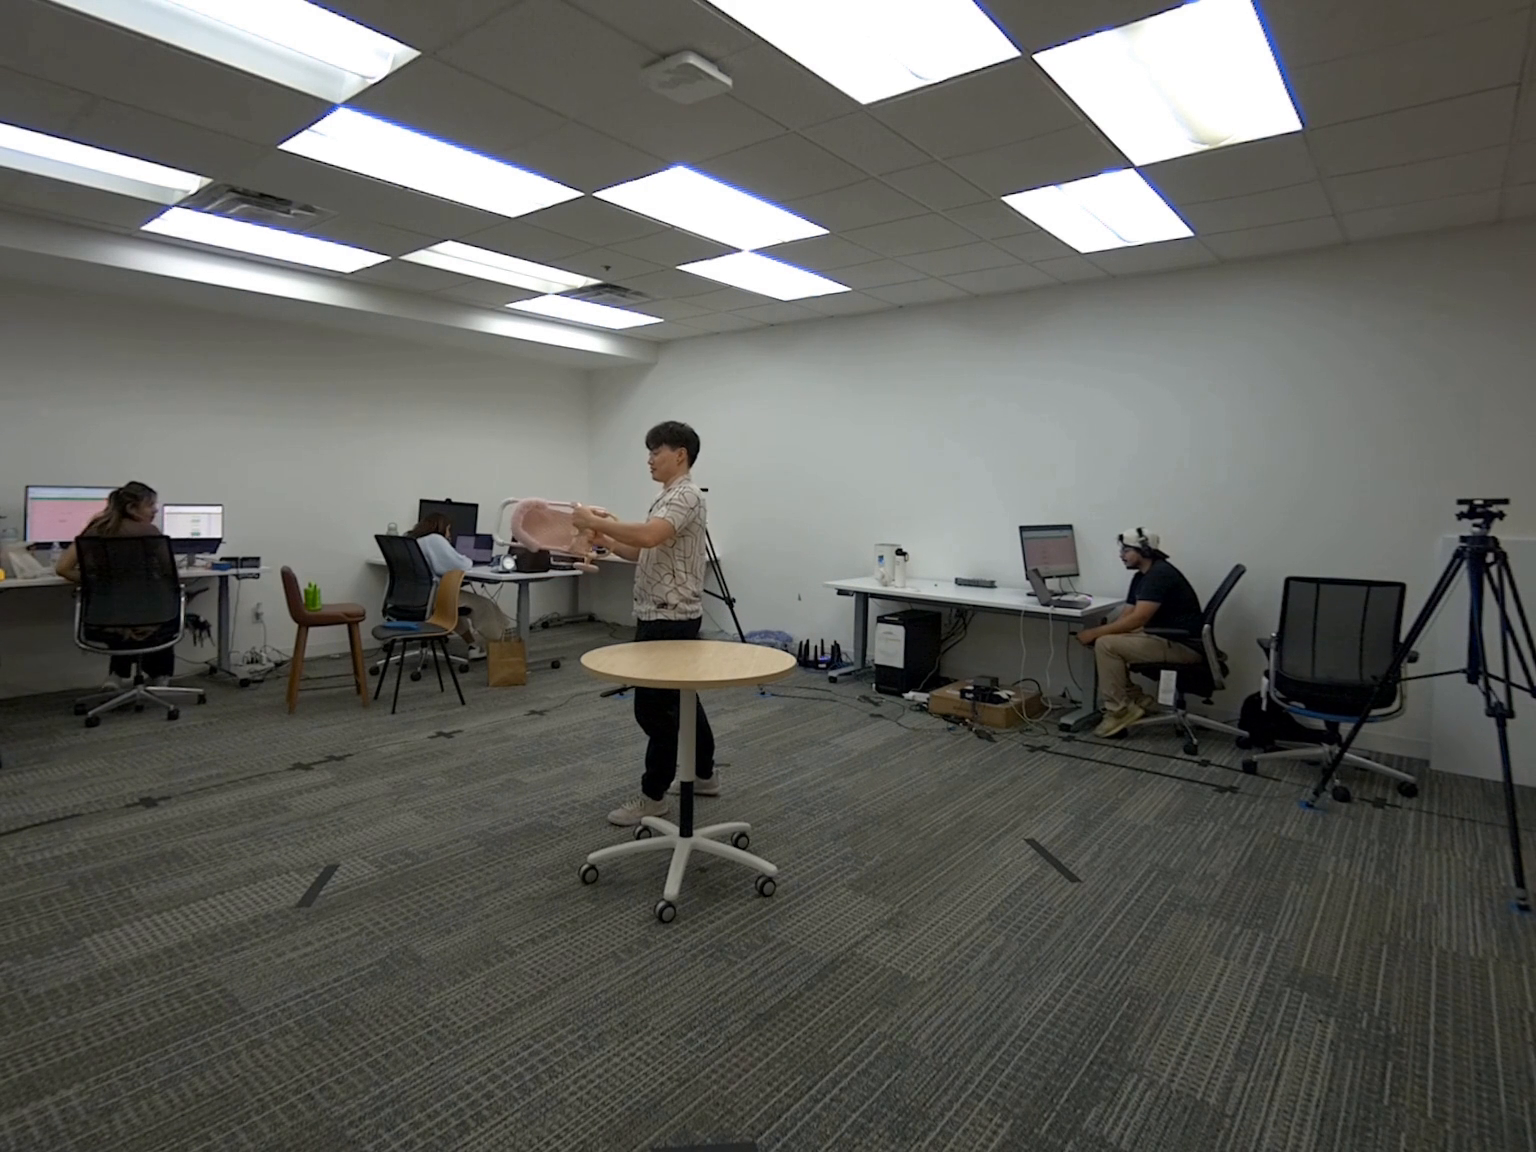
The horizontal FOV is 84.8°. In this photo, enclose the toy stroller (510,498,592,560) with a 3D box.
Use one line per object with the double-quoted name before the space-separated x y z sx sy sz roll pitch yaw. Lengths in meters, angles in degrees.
"toy stroller" -0.852 -0.190 3.525 0.520 0.283 0.349 13 -7 -24
